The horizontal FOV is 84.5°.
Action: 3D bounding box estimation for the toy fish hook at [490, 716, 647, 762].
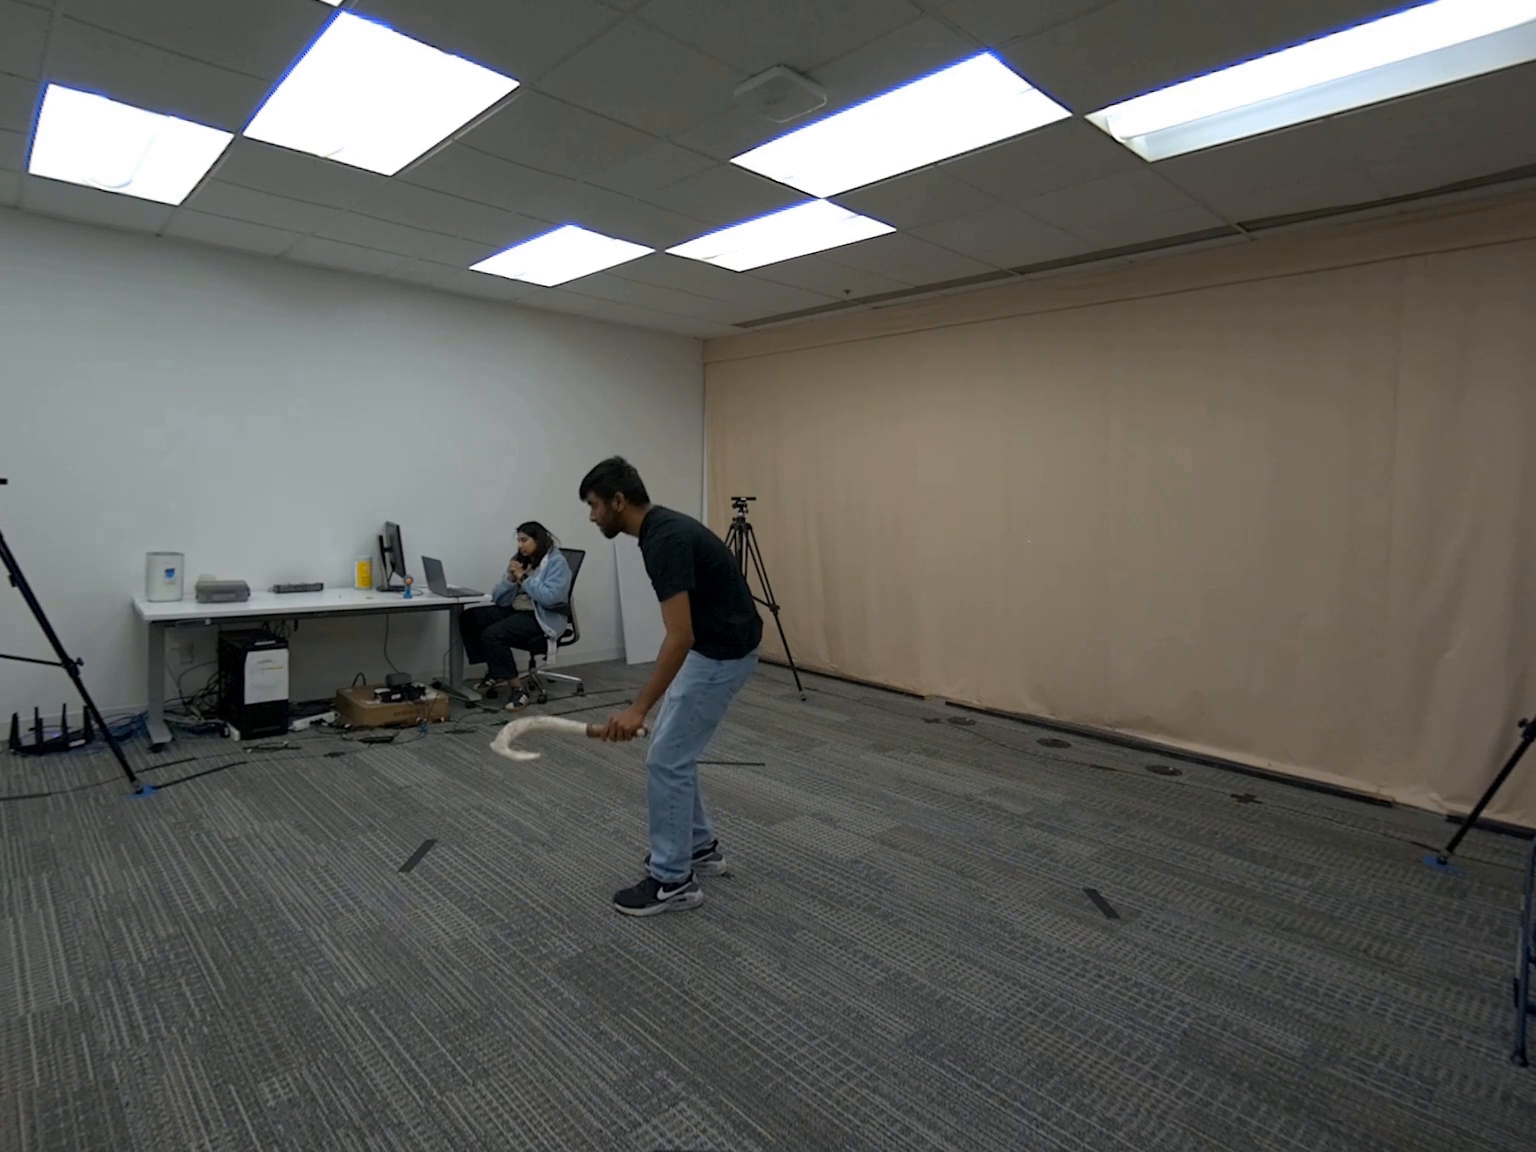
[{"bbox_3d":[-0.635,0.525,2.653,0.513,0.047,0.226,-2,27,16],"label":"toy fish hook"}]
